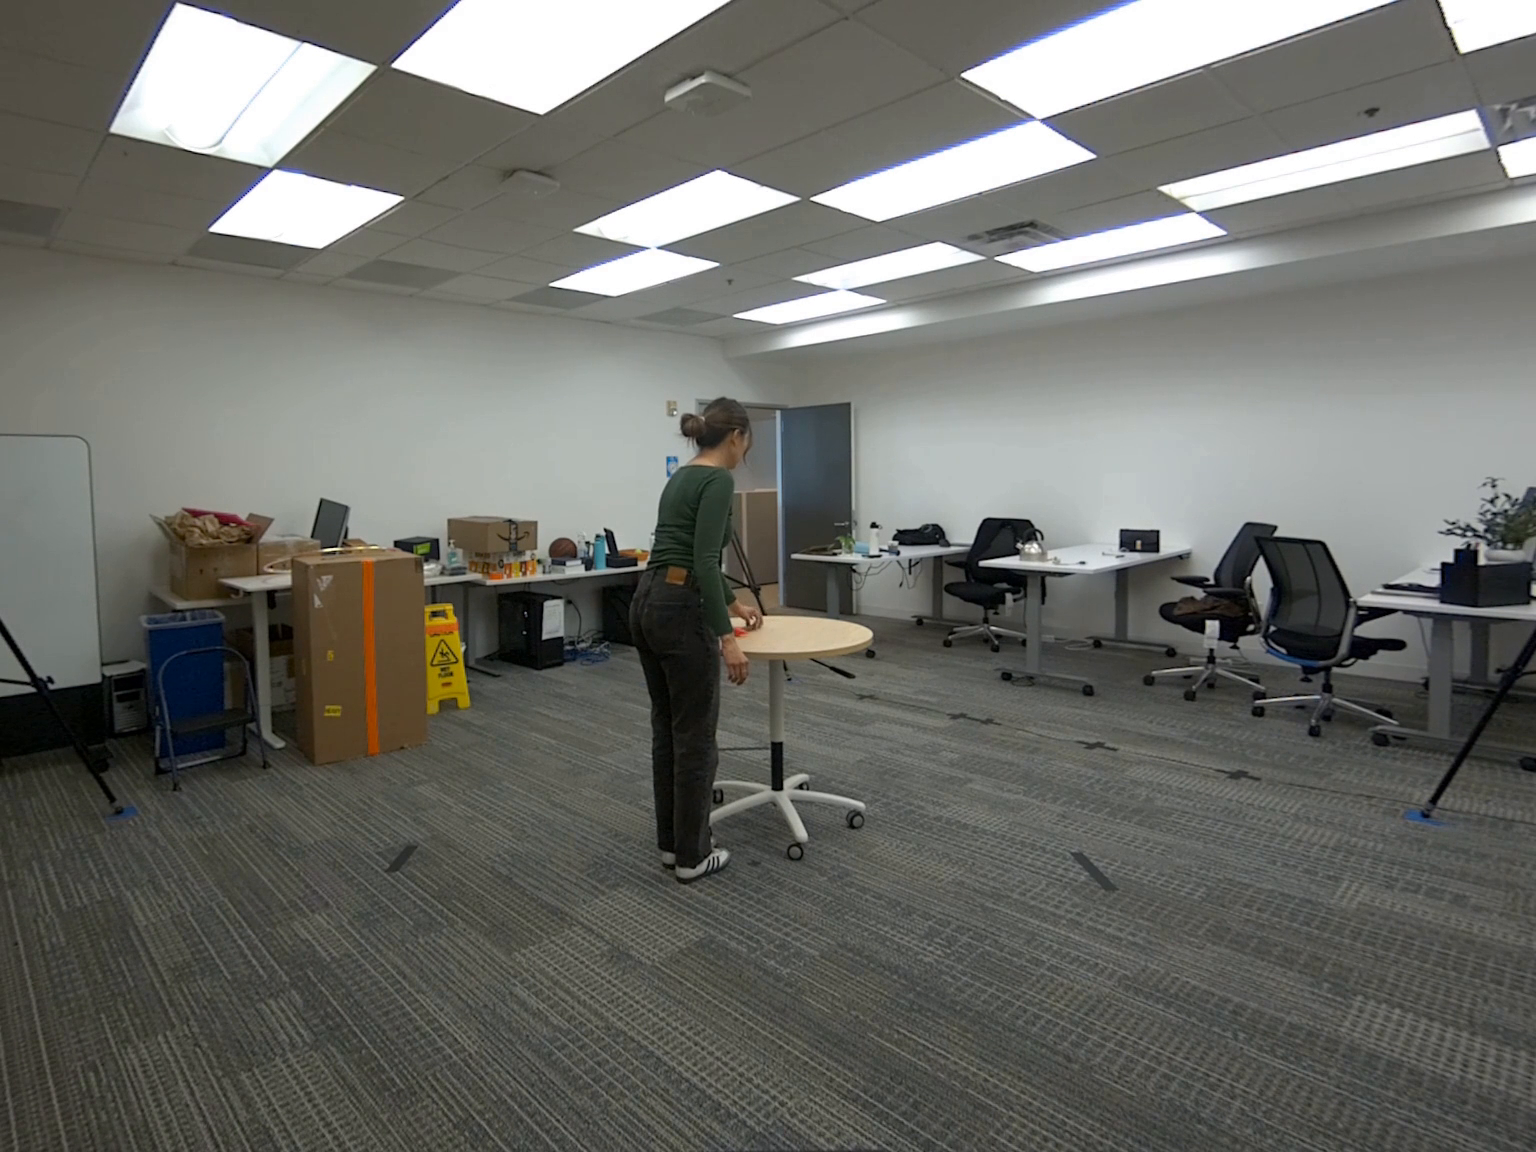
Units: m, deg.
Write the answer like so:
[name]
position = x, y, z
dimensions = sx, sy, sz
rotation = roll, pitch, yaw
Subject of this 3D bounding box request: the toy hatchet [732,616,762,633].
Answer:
[toy hatchet]
position = -0.104, 0.210, 3.465
dimensions = 0.133, 0.029, 0.266
rotation = 2, 6, 16
